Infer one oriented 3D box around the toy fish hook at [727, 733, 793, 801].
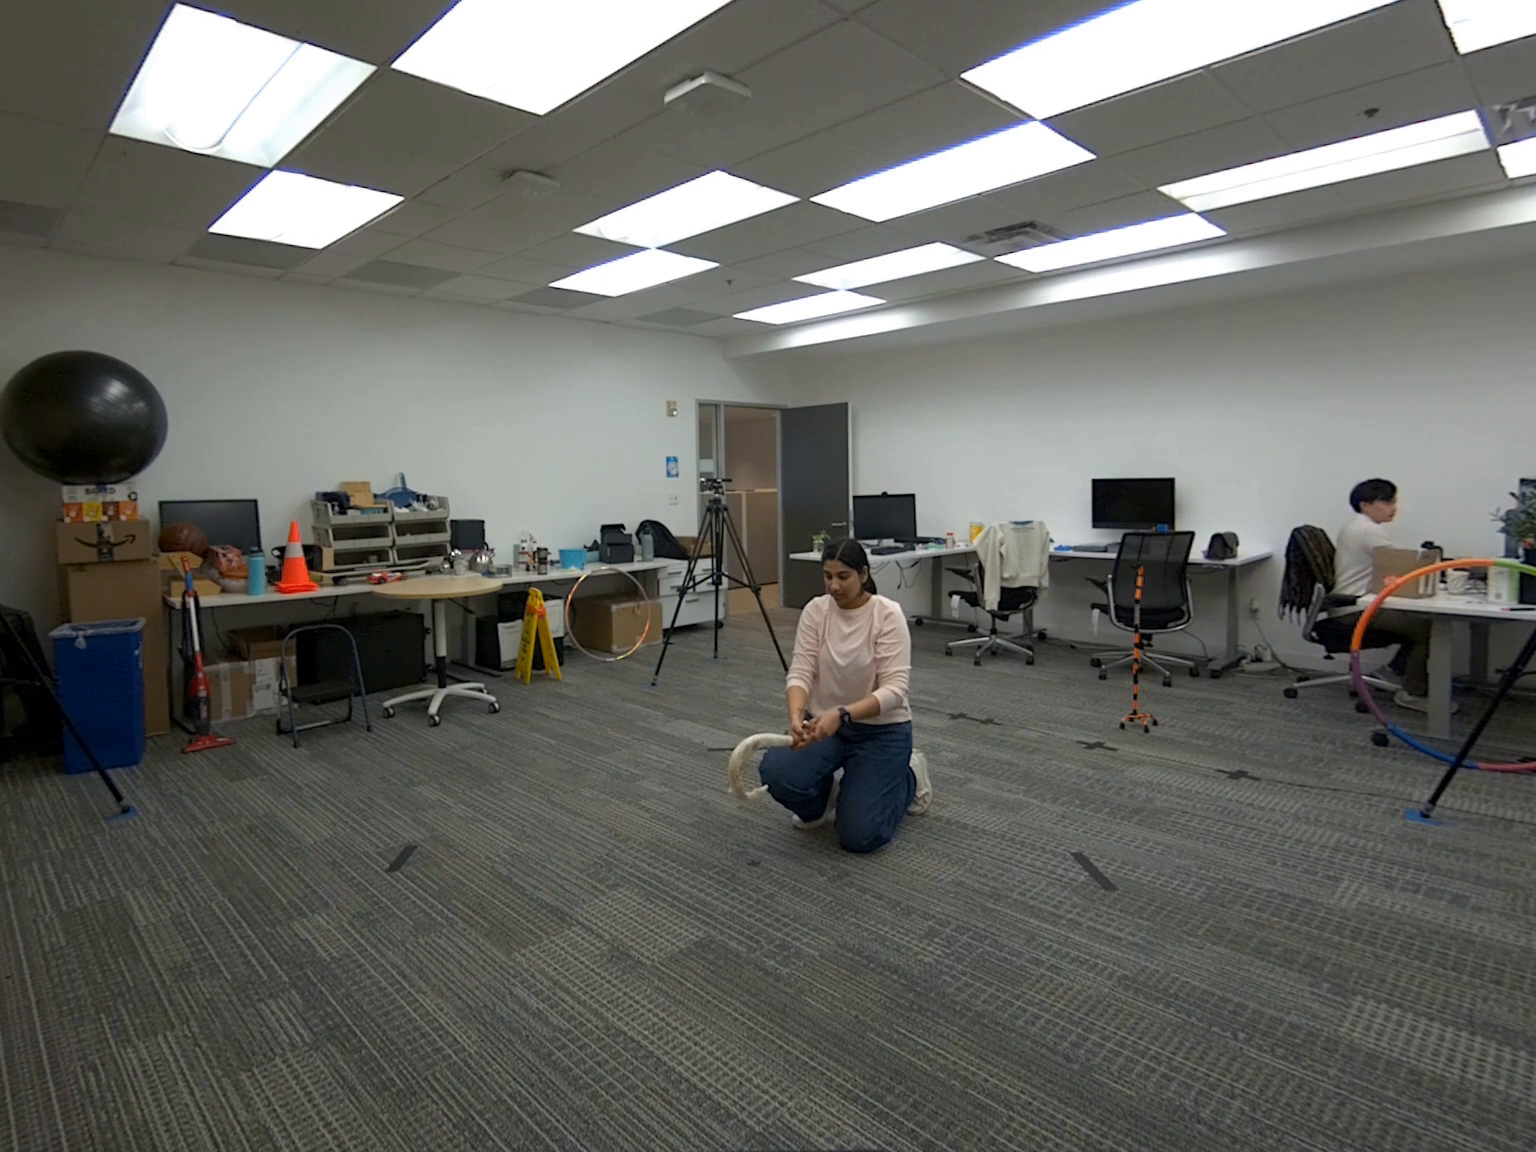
[{"bbox_3d":[0.029,0.601,2.875,0.050,0.223,0.493,13,13,40],"label":"toy fish hook"}]
